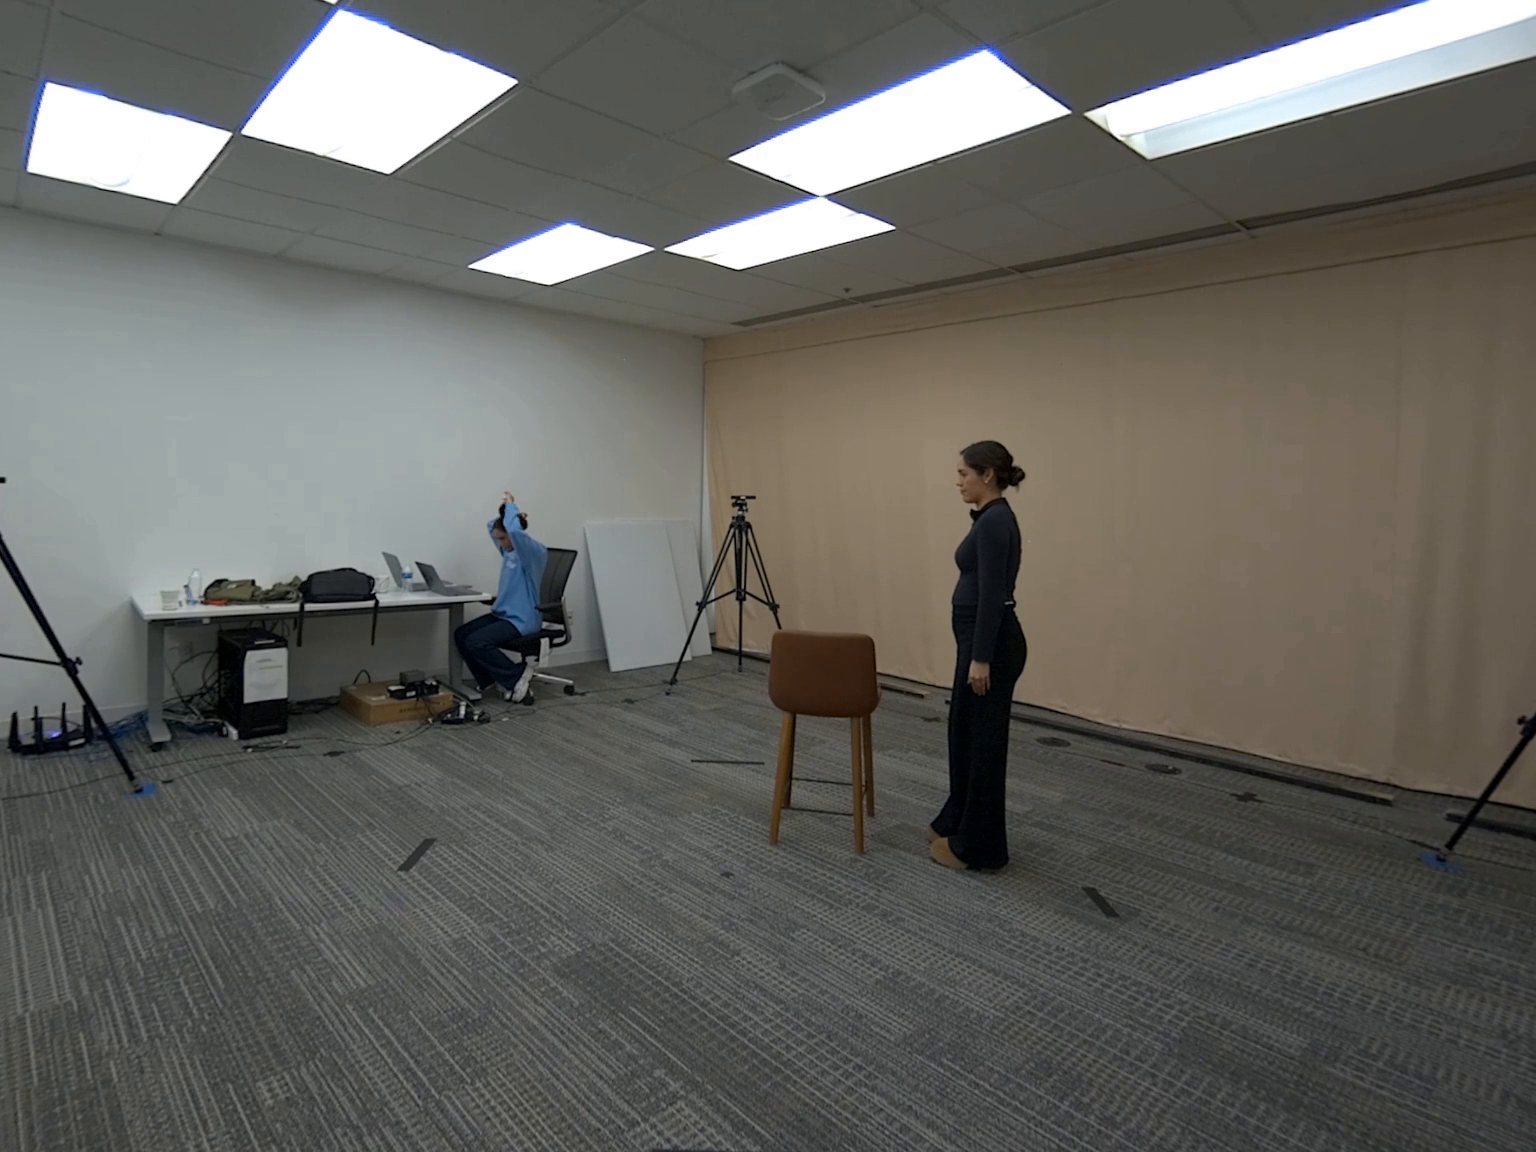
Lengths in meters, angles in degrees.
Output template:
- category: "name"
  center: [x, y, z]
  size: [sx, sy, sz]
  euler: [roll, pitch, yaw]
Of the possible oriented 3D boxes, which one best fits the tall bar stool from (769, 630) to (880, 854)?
- category: "tall bar stool"
  center: [0.237, 0.638, 3.543]
  size: [0.462, 0.887, 0.463]
  euler: [2, 4, 13]
